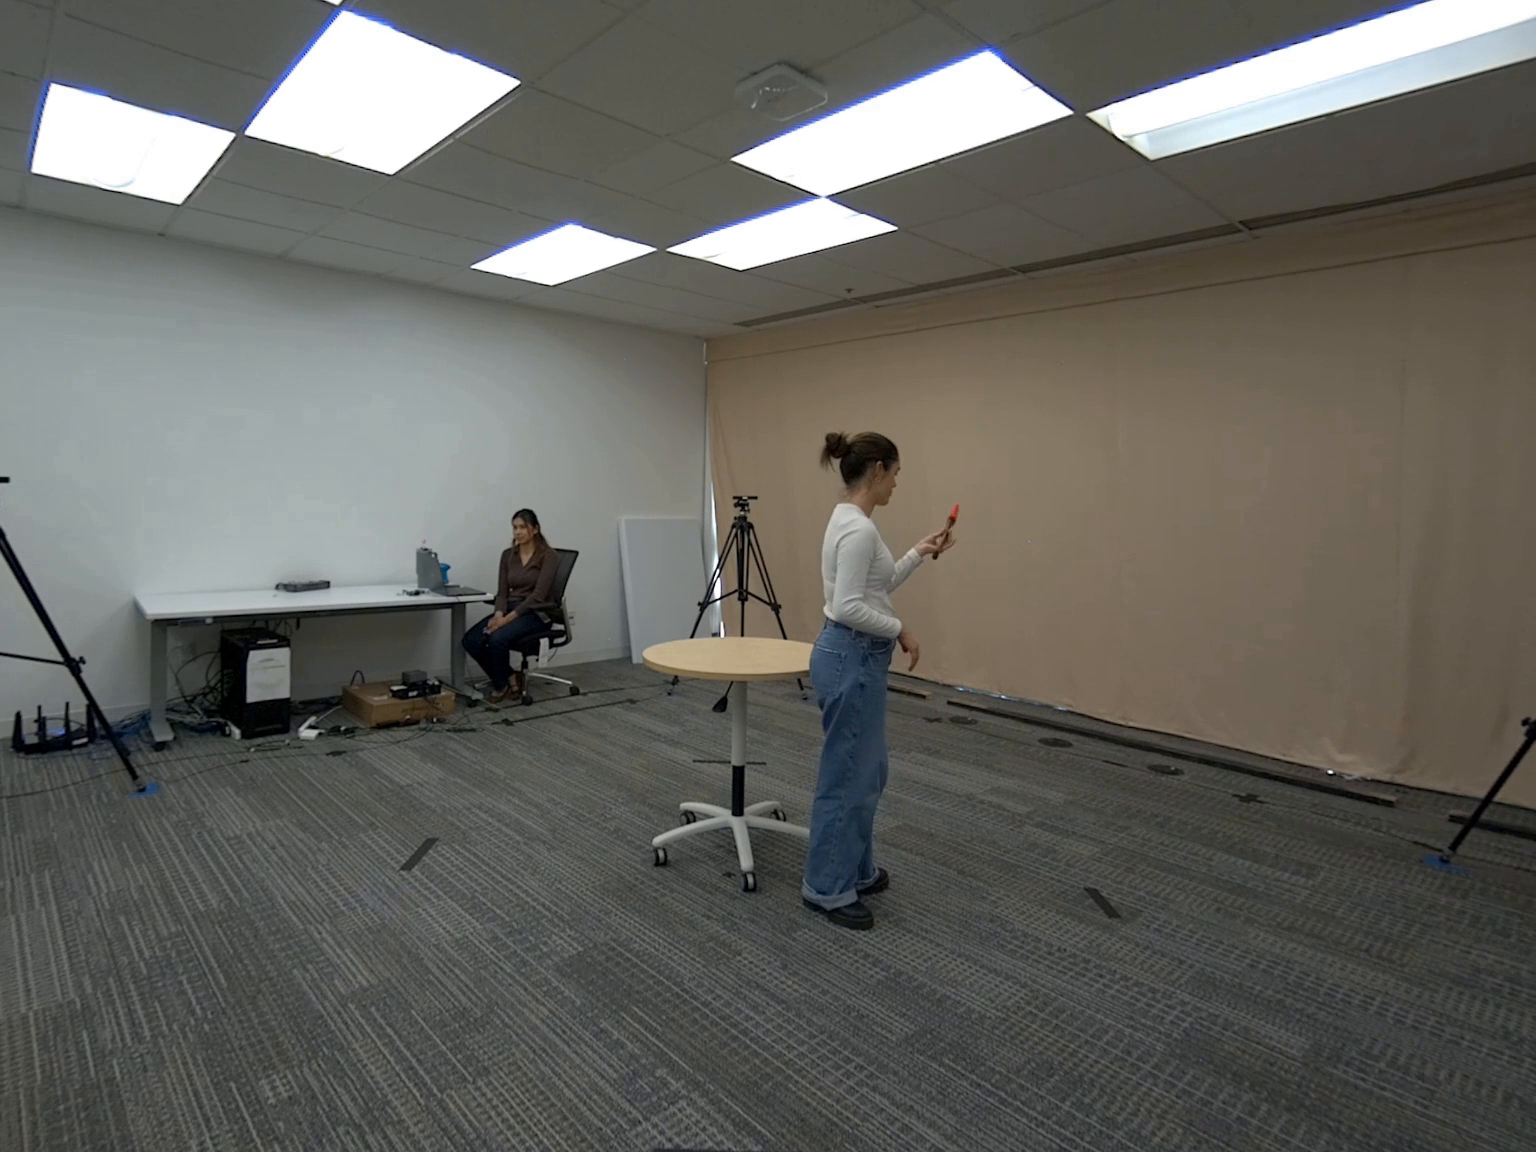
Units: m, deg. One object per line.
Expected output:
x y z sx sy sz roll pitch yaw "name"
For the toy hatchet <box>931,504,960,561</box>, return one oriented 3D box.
0.625 -0.166 2.952 0.030 0.129 0.270 25 34 10 "toy hatchet"
